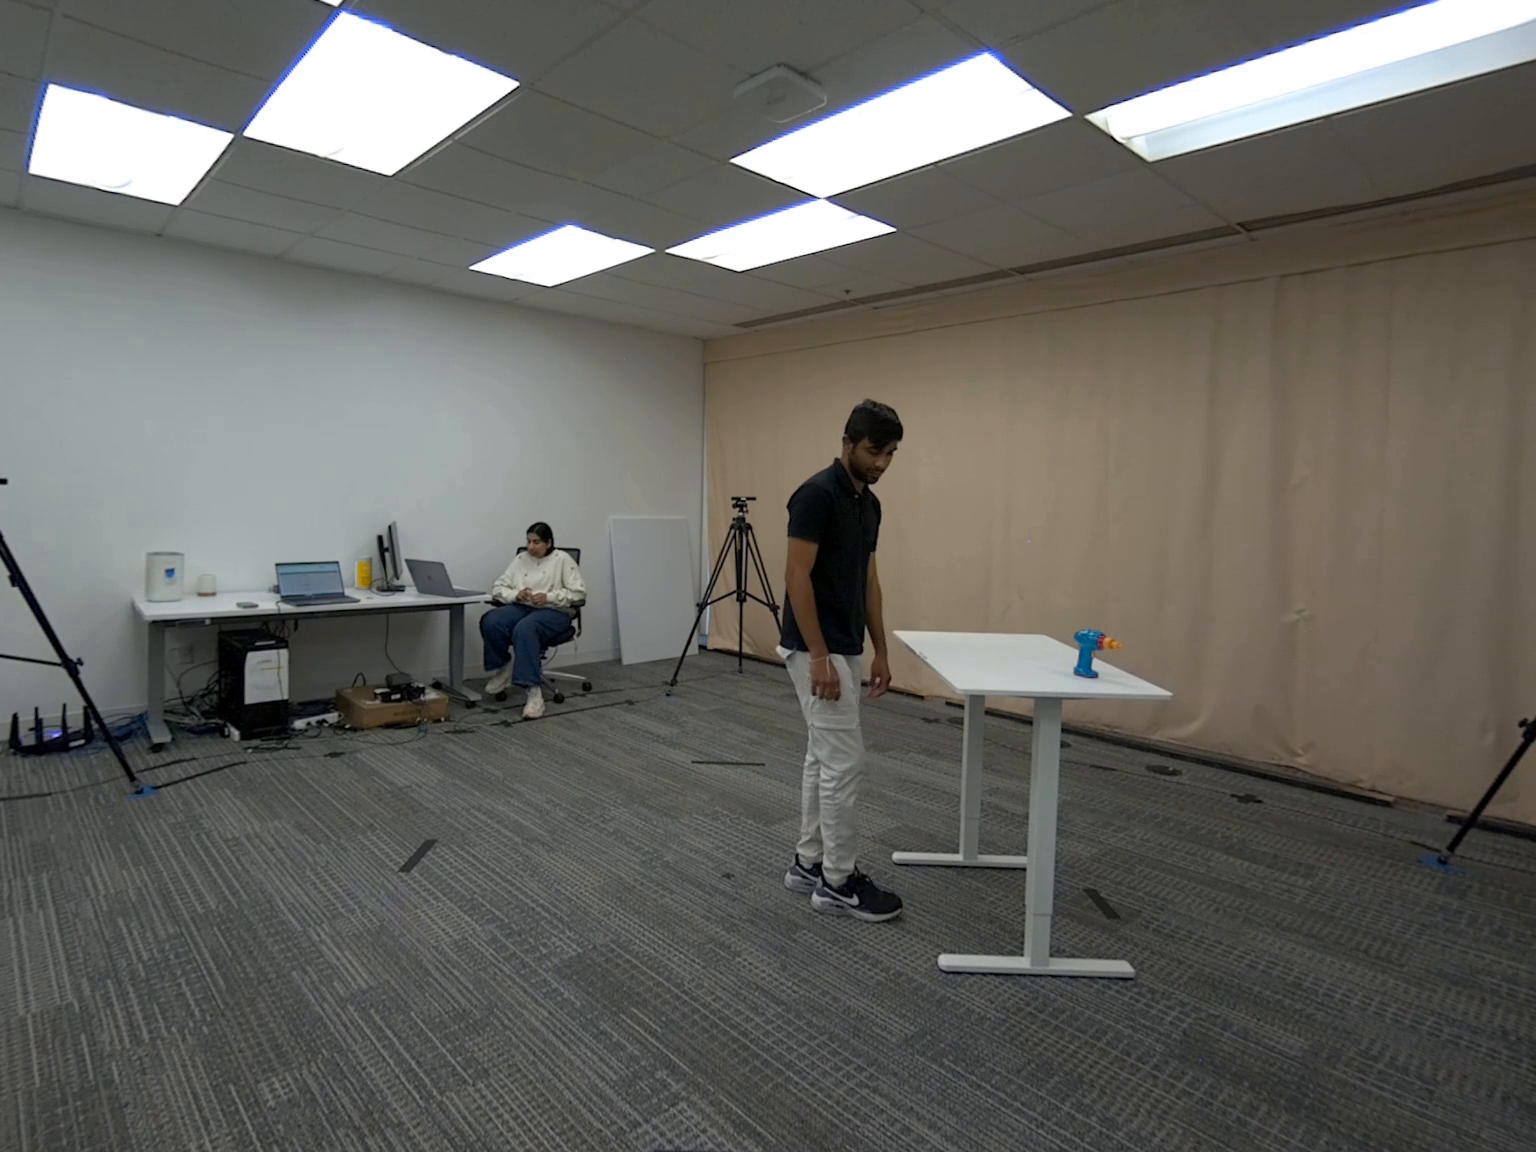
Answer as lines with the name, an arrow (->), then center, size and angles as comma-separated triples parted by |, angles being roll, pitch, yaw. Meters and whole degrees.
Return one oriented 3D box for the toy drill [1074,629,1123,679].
toy drill -> 0.975, 0.234, 2.522 | 0.060, 0.145, 0.174 | 0, 6, -29
